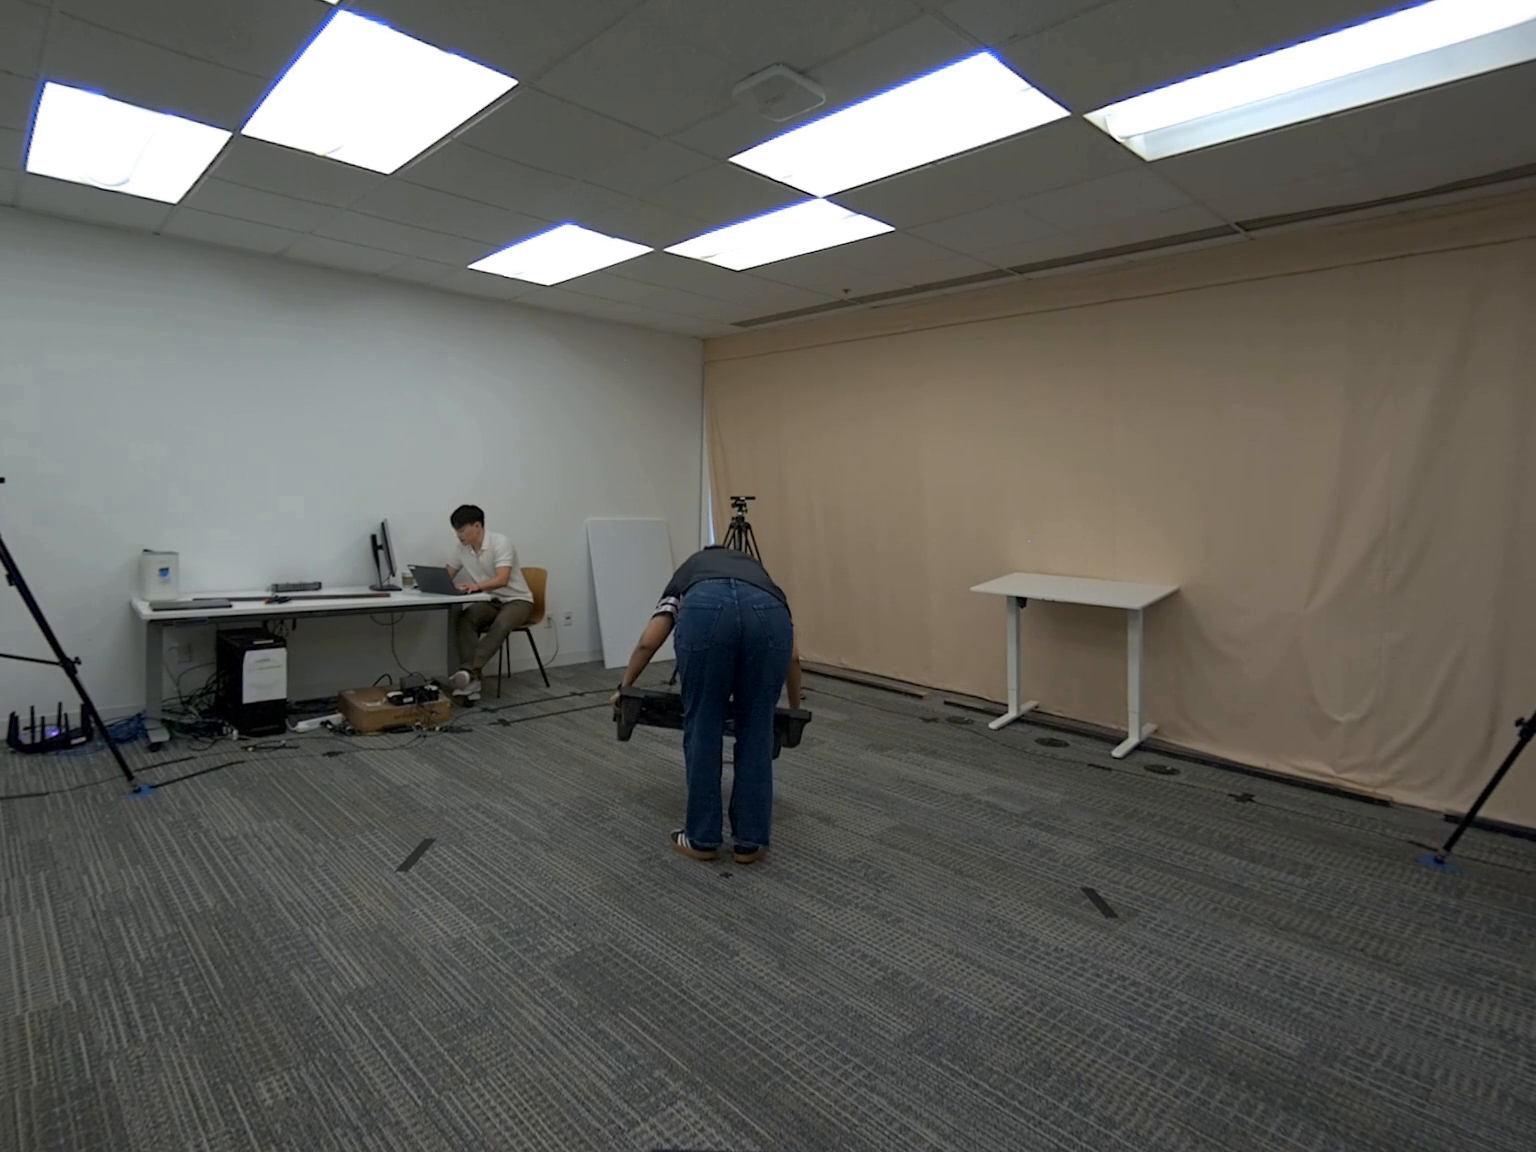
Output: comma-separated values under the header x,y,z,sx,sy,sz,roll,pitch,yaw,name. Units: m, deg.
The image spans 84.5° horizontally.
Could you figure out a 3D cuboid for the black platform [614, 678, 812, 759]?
x,y,z,sx,sy,sz,roll,pitch,yaw,name
-0.275,0.661,3.691,0.800,0.145,0.601,9,-21,-8,black platform
